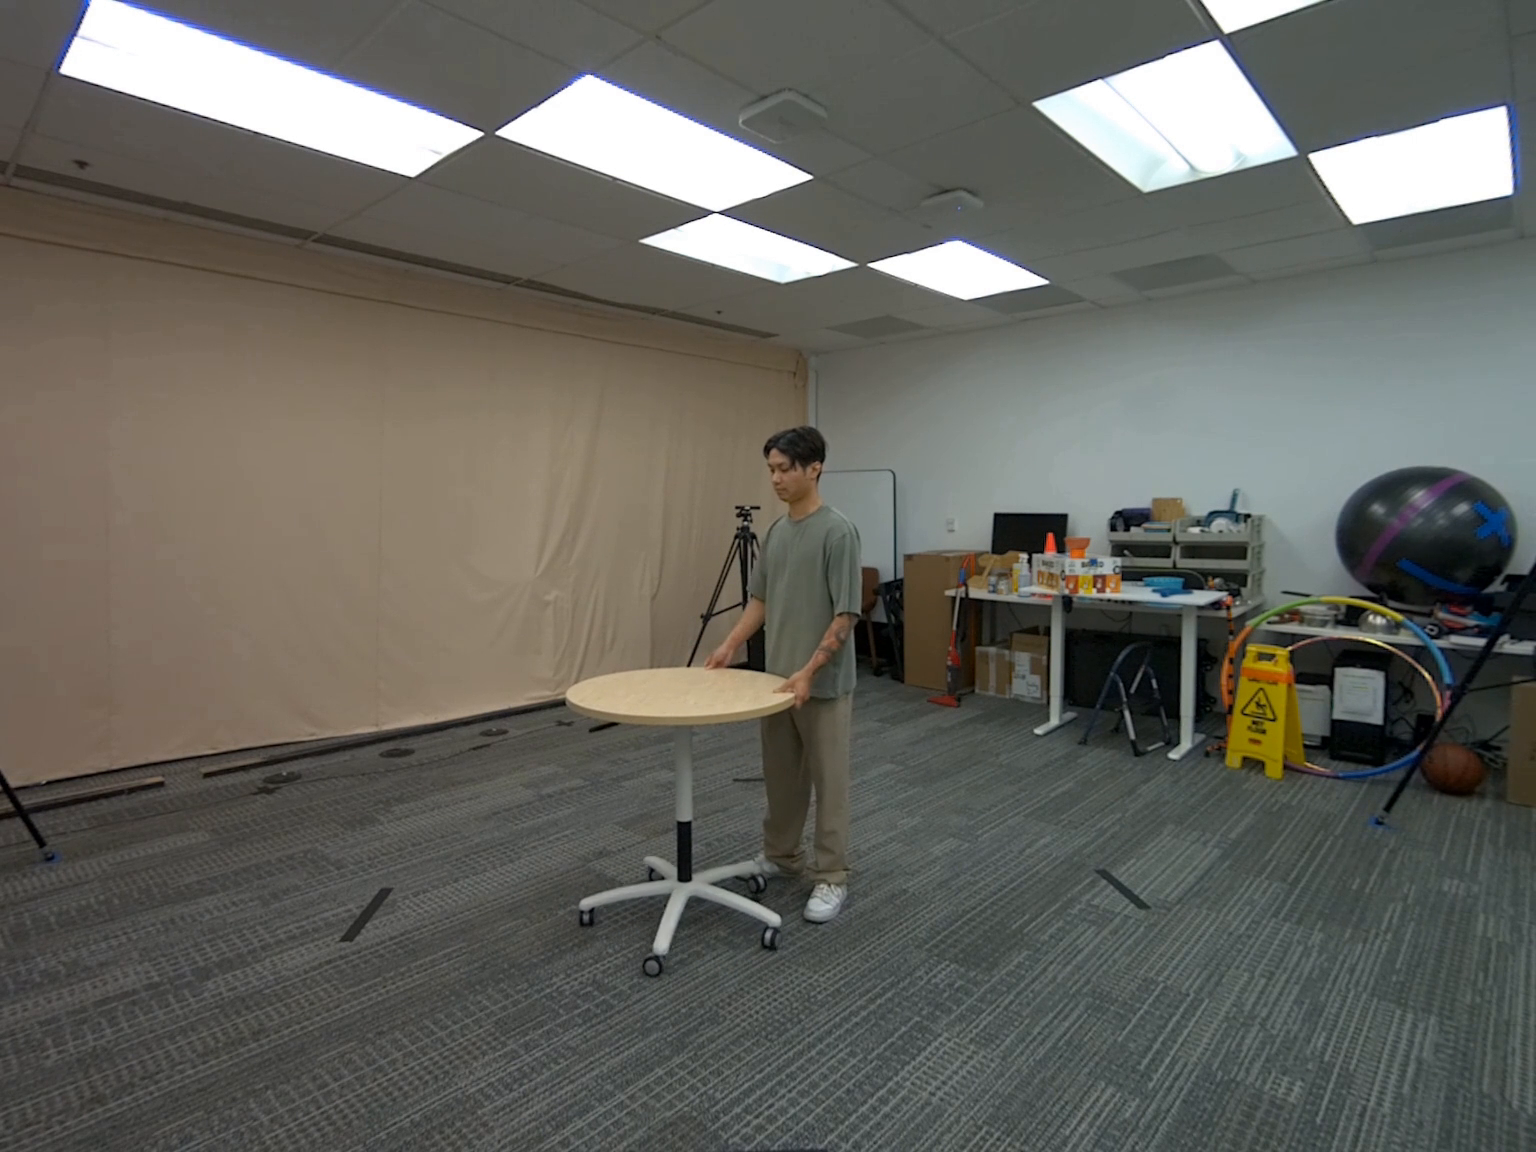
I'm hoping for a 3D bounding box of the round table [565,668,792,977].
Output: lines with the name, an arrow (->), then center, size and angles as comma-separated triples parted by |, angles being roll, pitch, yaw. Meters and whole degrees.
round table -> -0.271, 0.766, 2.799 | 0.784, 0.785, 0.788 | -1, 4, -2
